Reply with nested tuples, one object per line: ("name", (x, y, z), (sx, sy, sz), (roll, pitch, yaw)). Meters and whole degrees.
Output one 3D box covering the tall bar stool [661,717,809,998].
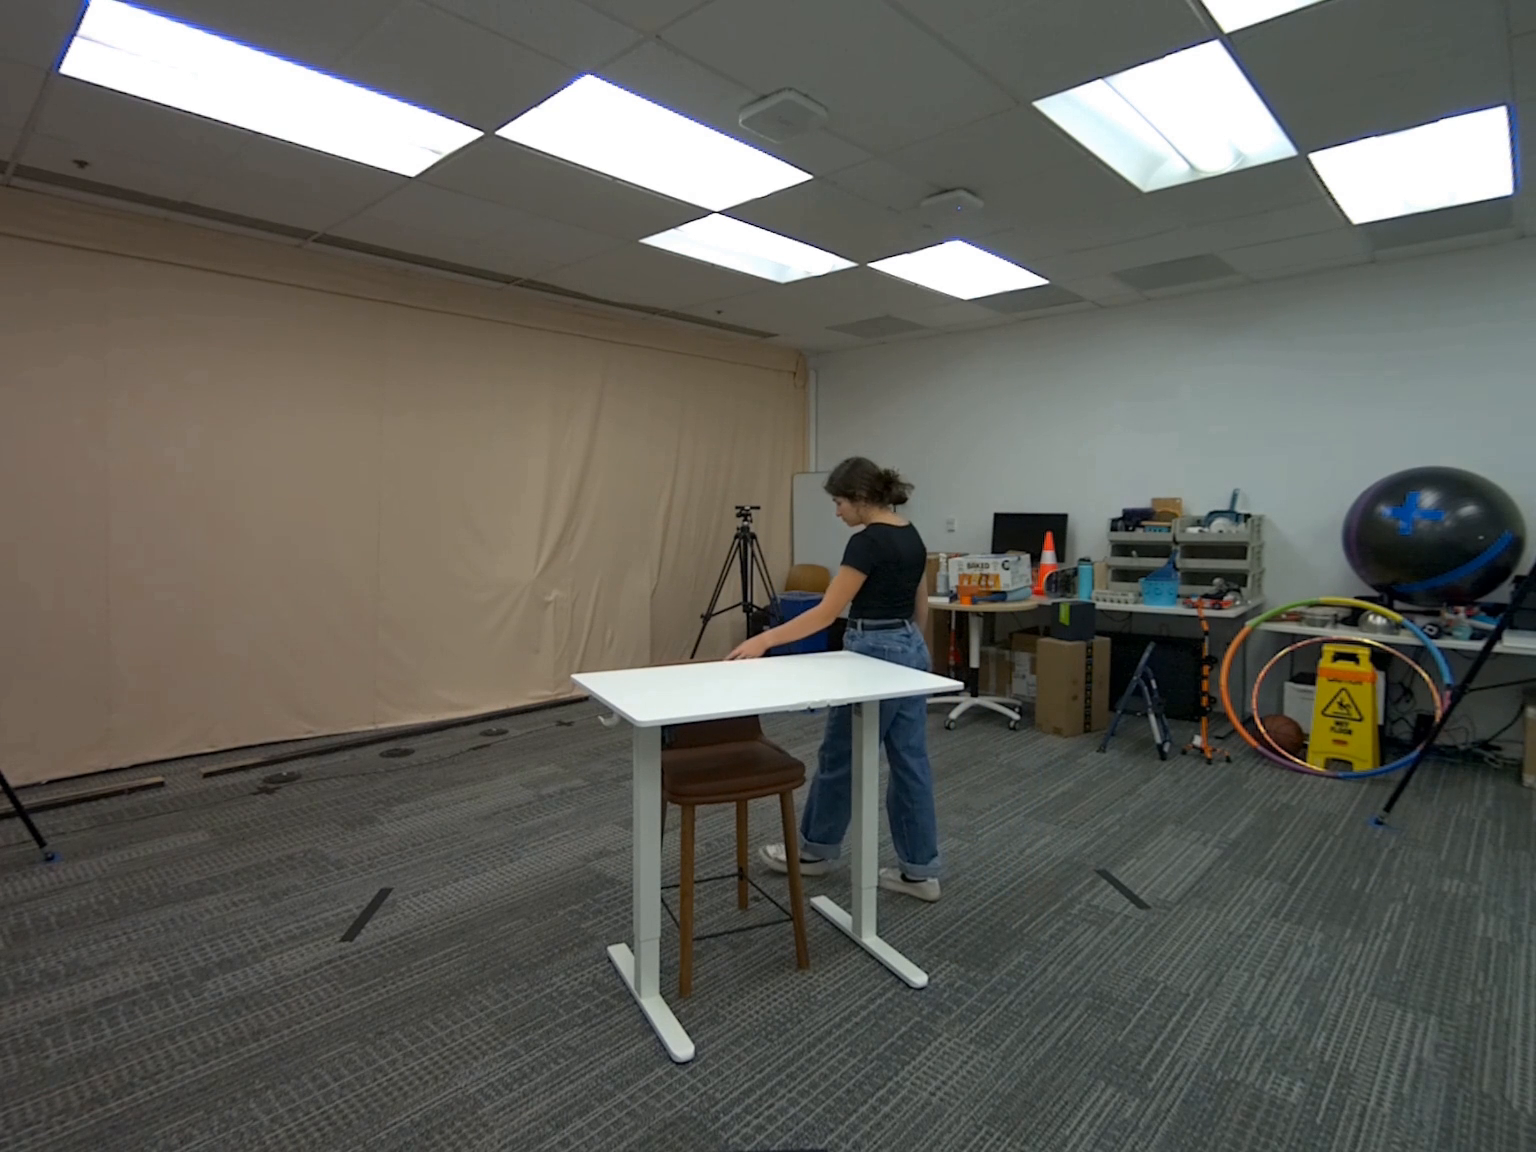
("tall bar stool", (-0.159, 0.744, 2.642), (0.446, 0.889, 0.478), (-2, 1, -24))
